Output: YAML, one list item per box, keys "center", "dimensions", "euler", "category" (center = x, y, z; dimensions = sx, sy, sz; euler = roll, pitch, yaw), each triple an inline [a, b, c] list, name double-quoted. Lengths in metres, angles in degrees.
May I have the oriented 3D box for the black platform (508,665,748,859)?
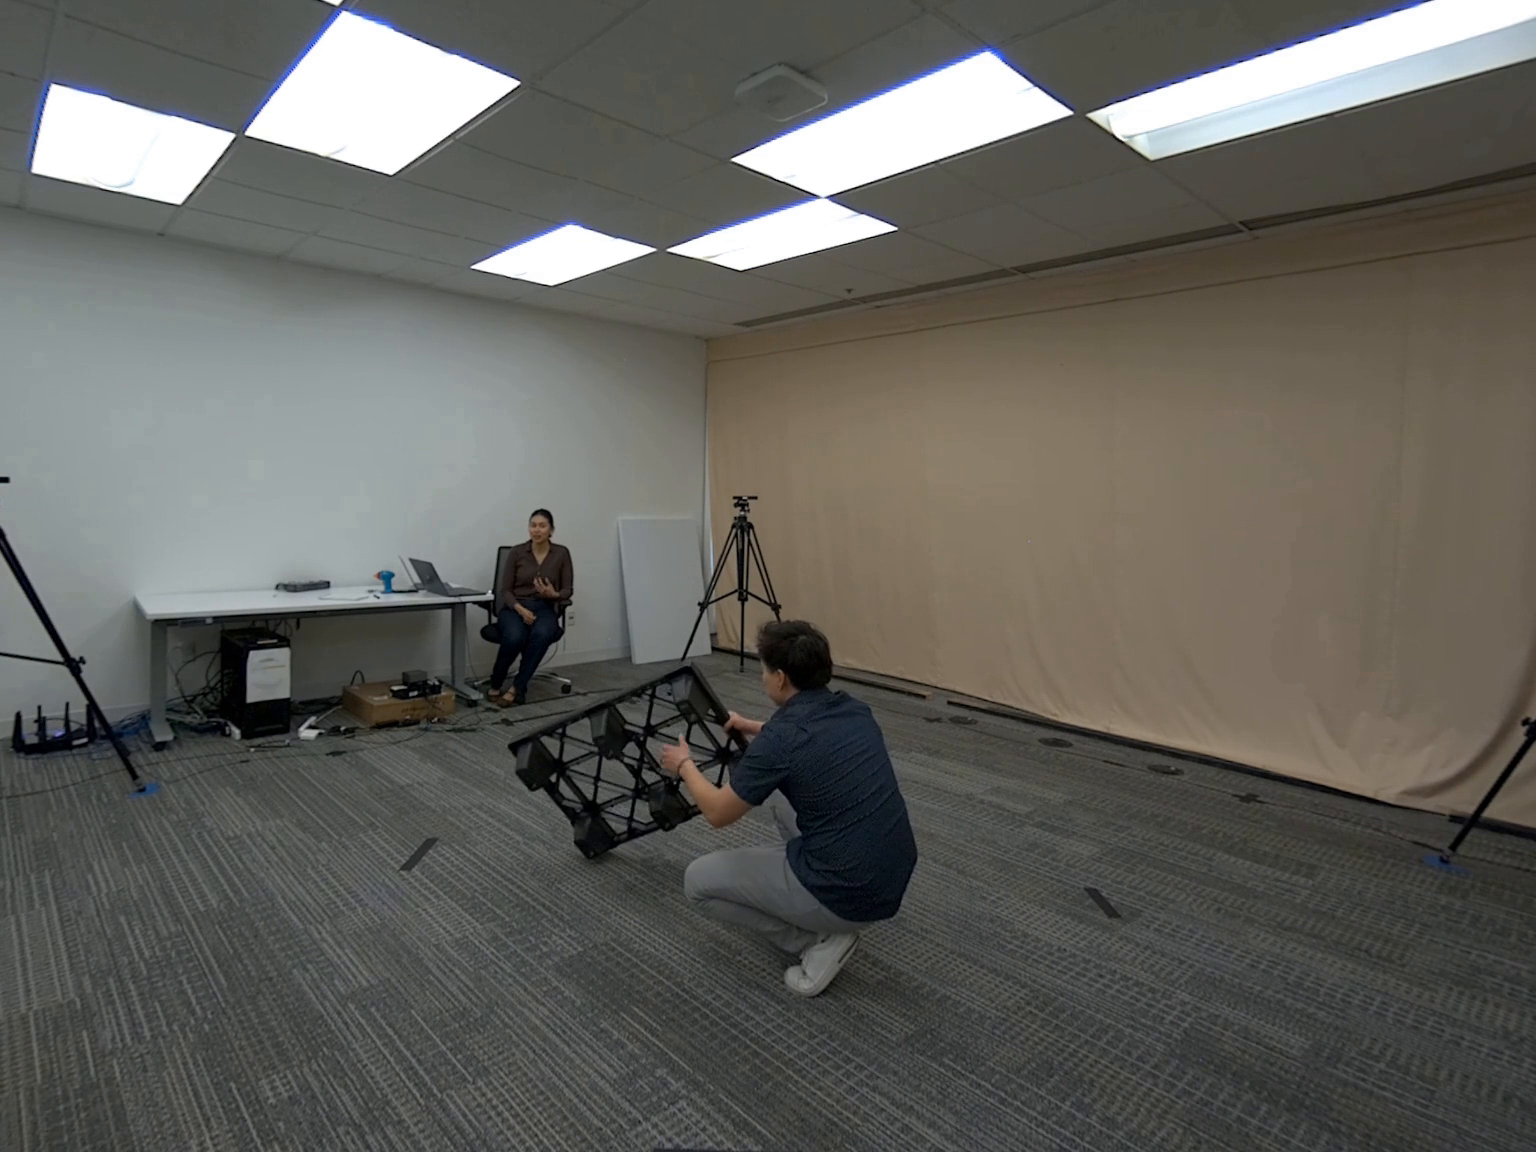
- center: [-0.470, 0.705, 3.022]
  dimensions: [0.811, 0.593, 0.145]
  euler: [-25, 21, 18]
  category: "black platform"
